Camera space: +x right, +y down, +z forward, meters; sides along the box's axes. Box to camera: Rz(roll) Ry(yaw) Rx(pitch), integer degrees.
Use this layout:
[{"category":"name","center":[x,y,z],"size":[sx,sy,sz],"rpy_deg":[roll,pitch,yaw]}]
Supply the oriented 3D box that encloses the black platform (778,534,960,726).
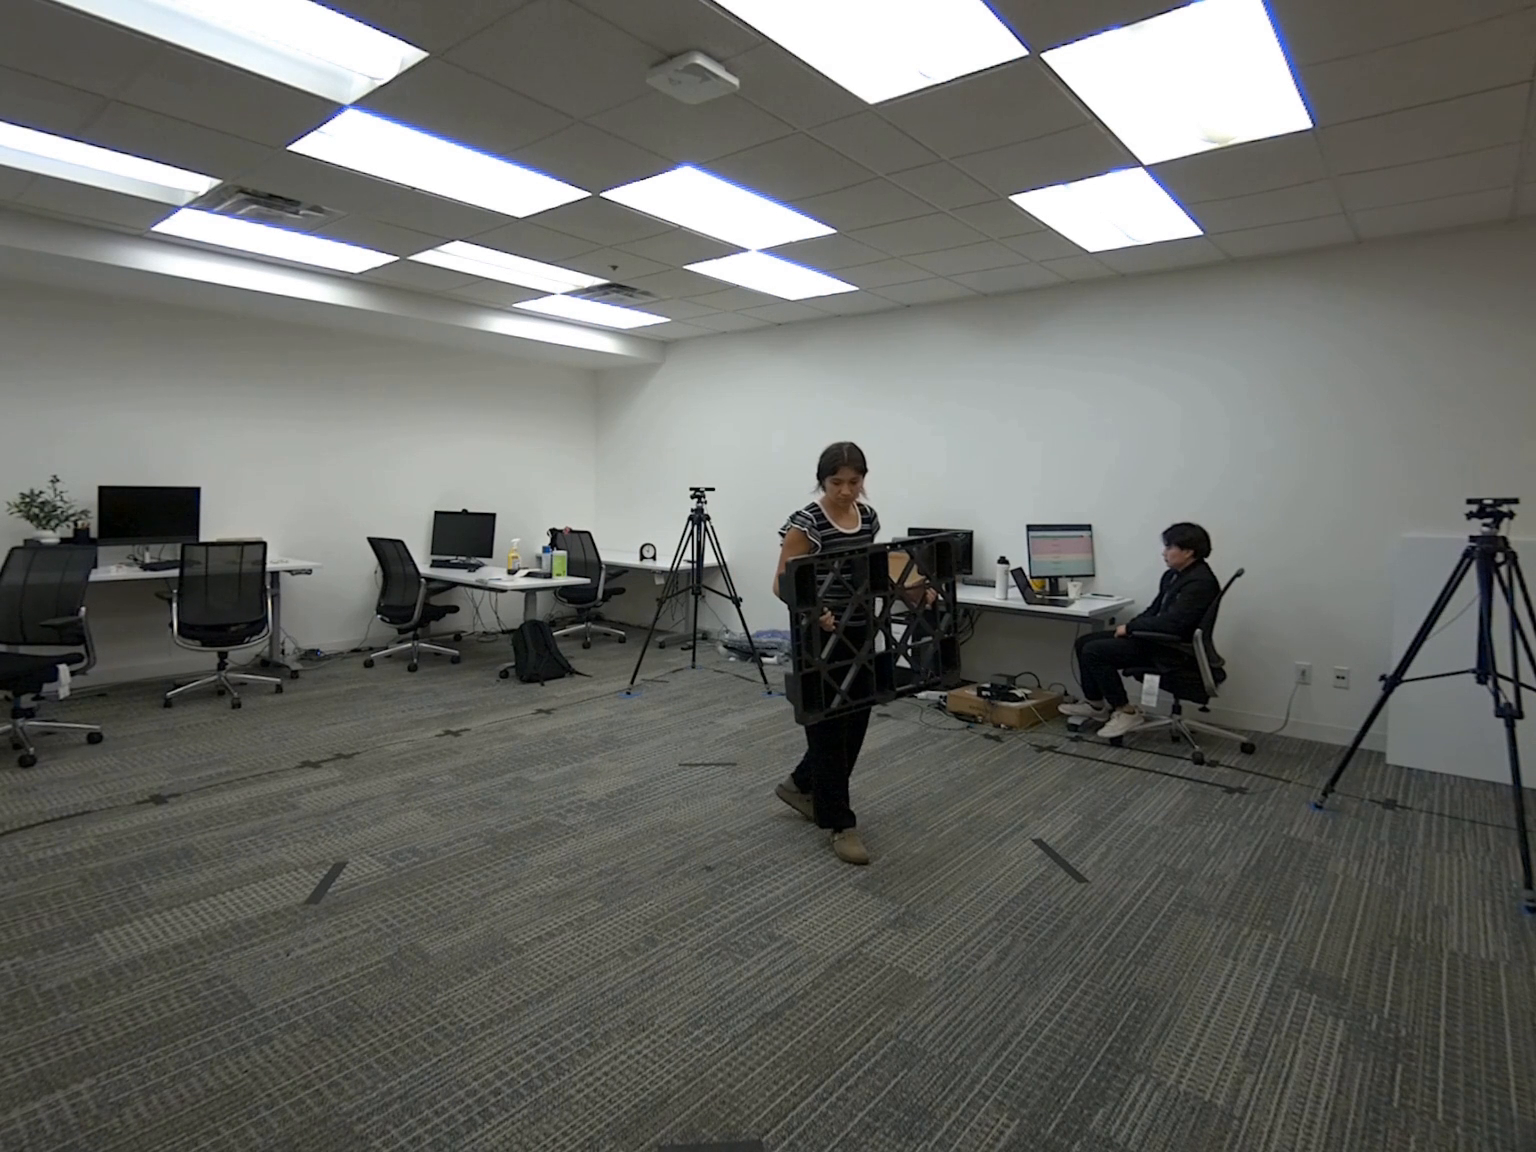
[{"category":"black platform","center":[0.377,0.172,3.223],"size":[0.787,0.602,0.147],"rpy_deg":[-9,7,-30]}]
